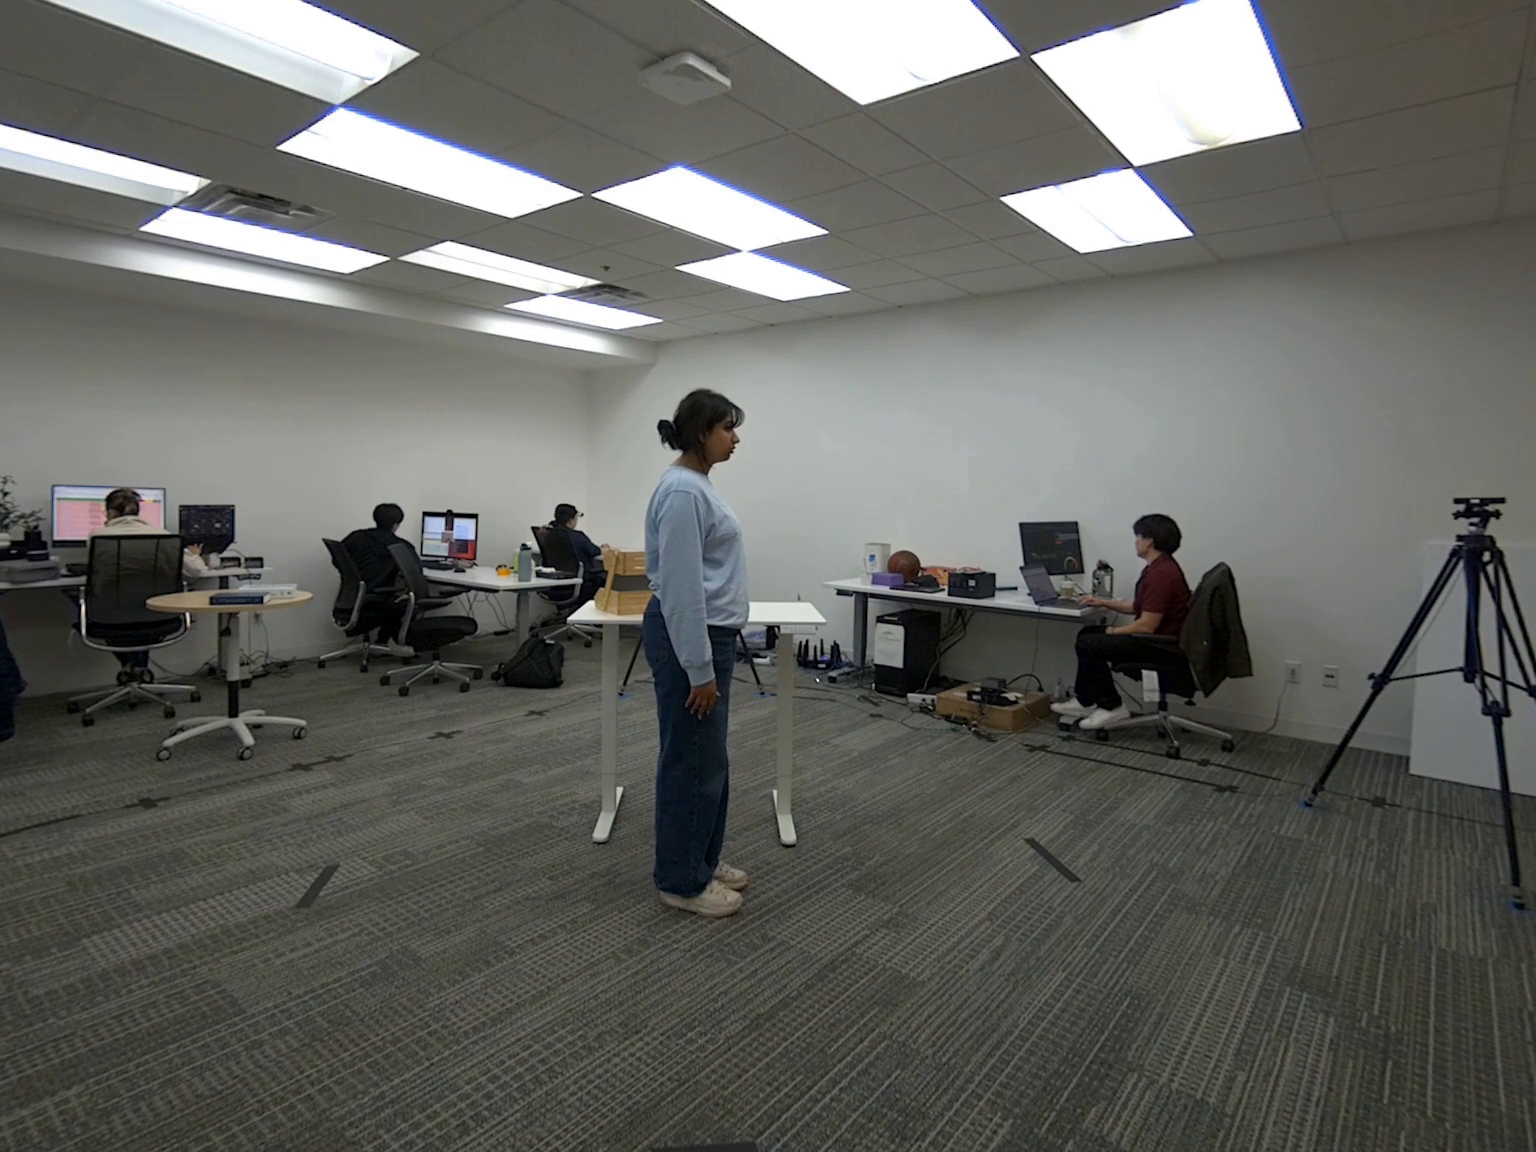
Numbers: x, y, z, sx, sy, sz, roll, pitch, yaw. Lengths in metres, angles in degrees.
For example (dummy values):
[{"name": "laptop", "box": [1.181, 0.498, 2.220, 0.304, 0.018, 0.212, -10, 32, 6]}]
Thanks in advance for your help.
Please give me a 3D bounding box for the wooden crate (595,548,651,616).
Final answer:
[{"name": "wooden crate", "box": [-0.546, 0.008, 3.552, 0.315, 0.272, 0.311, -2, 5, -32]}]
